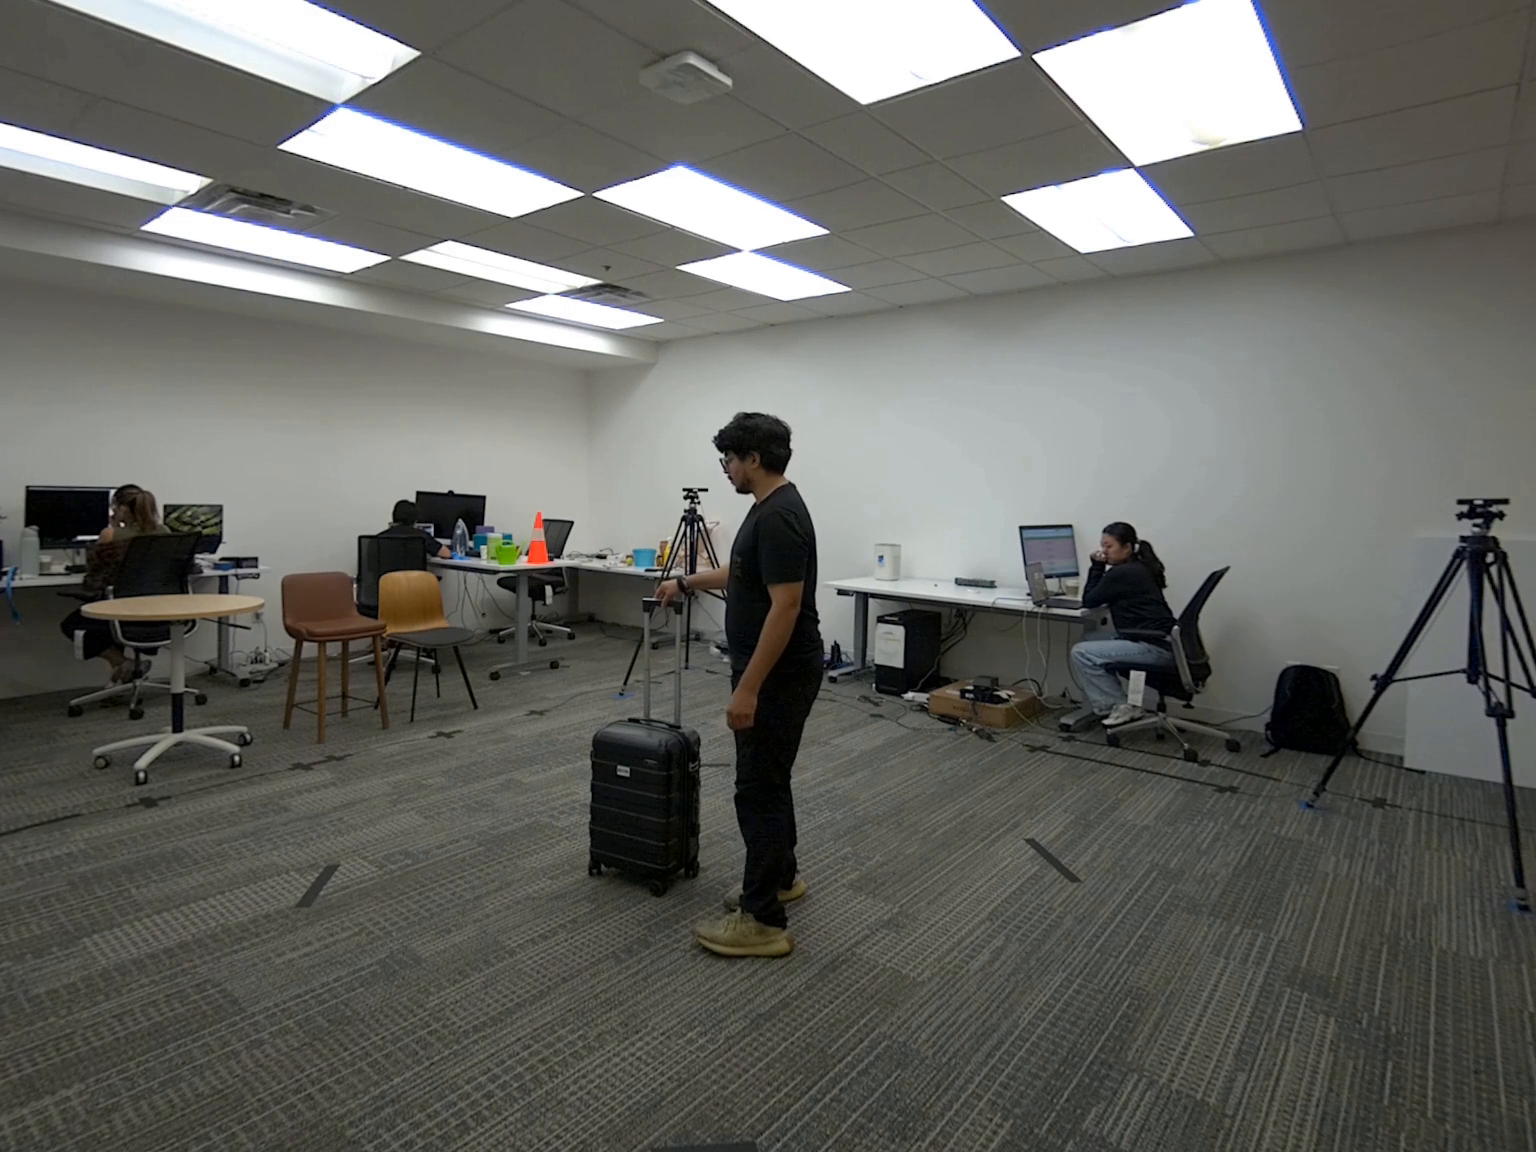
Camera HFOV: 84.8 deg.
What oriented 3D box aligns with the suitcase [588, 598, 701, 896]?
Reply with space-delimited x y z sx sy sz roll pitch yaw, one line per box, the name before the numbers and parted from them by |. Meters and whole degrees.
suitcase | -0.445 0.596 3.032 0.395 0.974 0.251 3 5 27
